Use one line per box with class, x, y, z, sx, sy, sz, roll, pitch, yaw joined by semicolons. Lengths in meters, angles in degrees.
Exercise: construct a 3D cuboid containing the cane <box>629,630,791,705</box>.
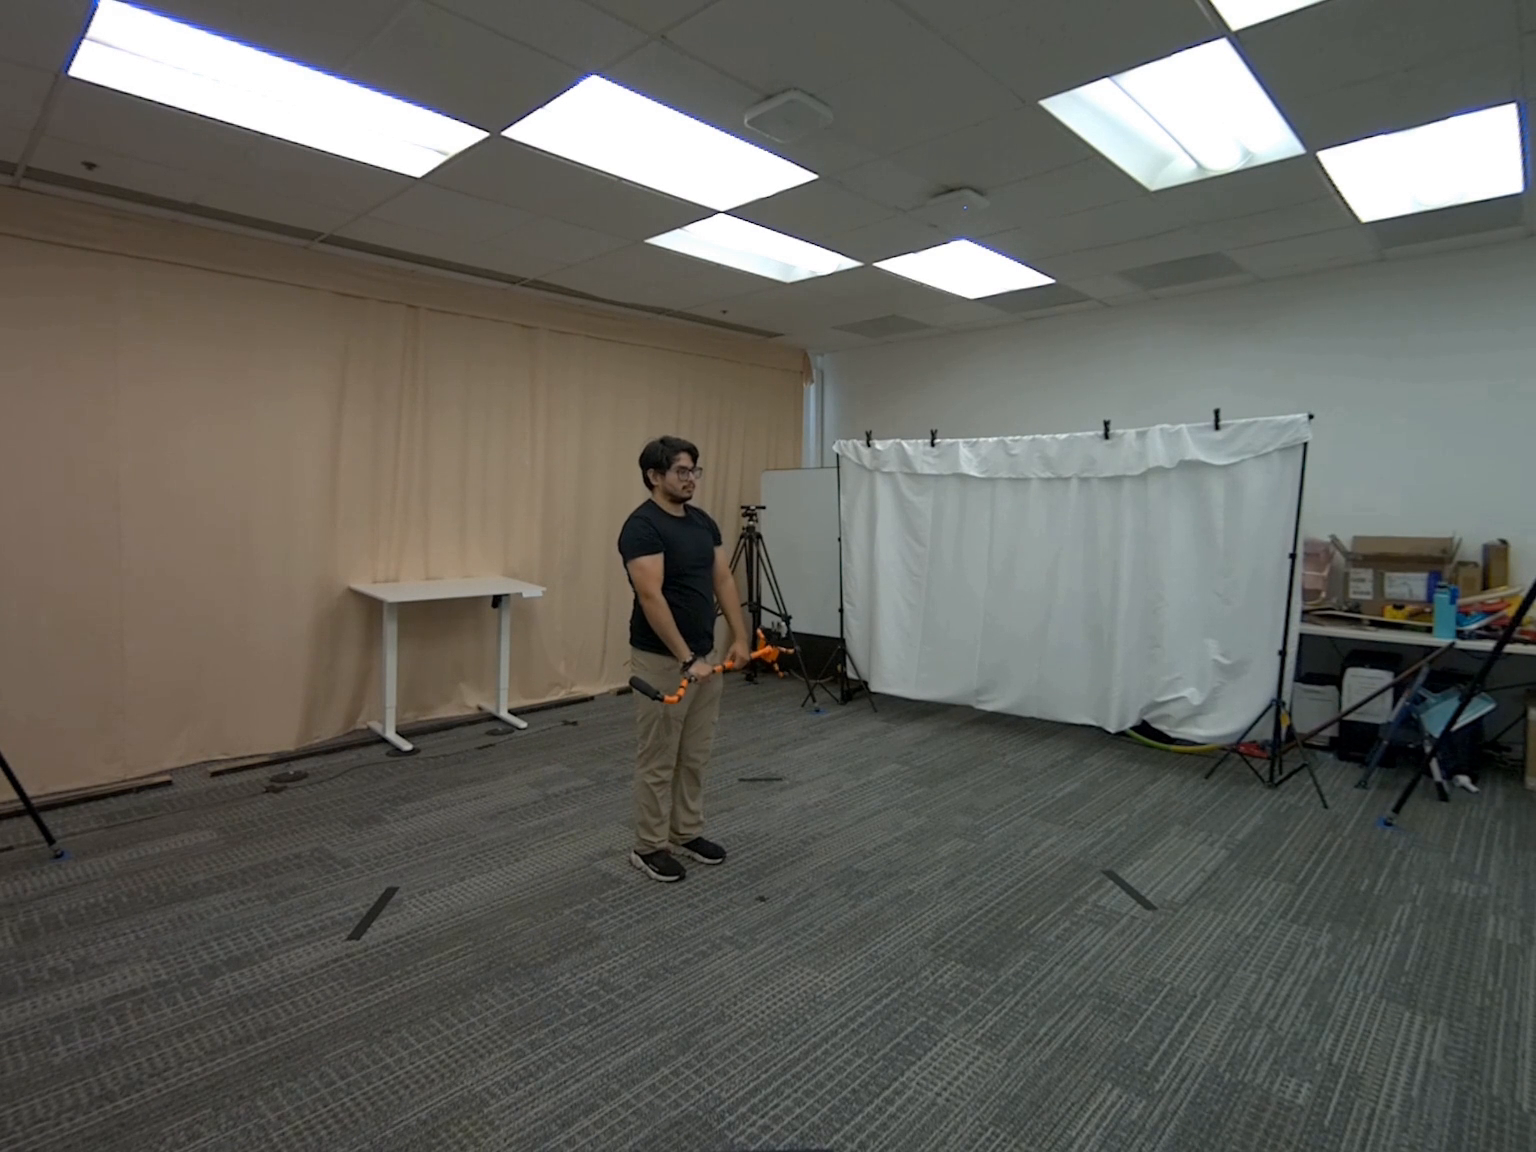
cane;-0.166;0.356;3.090;0.212;0.151;0.885;29;18;23
